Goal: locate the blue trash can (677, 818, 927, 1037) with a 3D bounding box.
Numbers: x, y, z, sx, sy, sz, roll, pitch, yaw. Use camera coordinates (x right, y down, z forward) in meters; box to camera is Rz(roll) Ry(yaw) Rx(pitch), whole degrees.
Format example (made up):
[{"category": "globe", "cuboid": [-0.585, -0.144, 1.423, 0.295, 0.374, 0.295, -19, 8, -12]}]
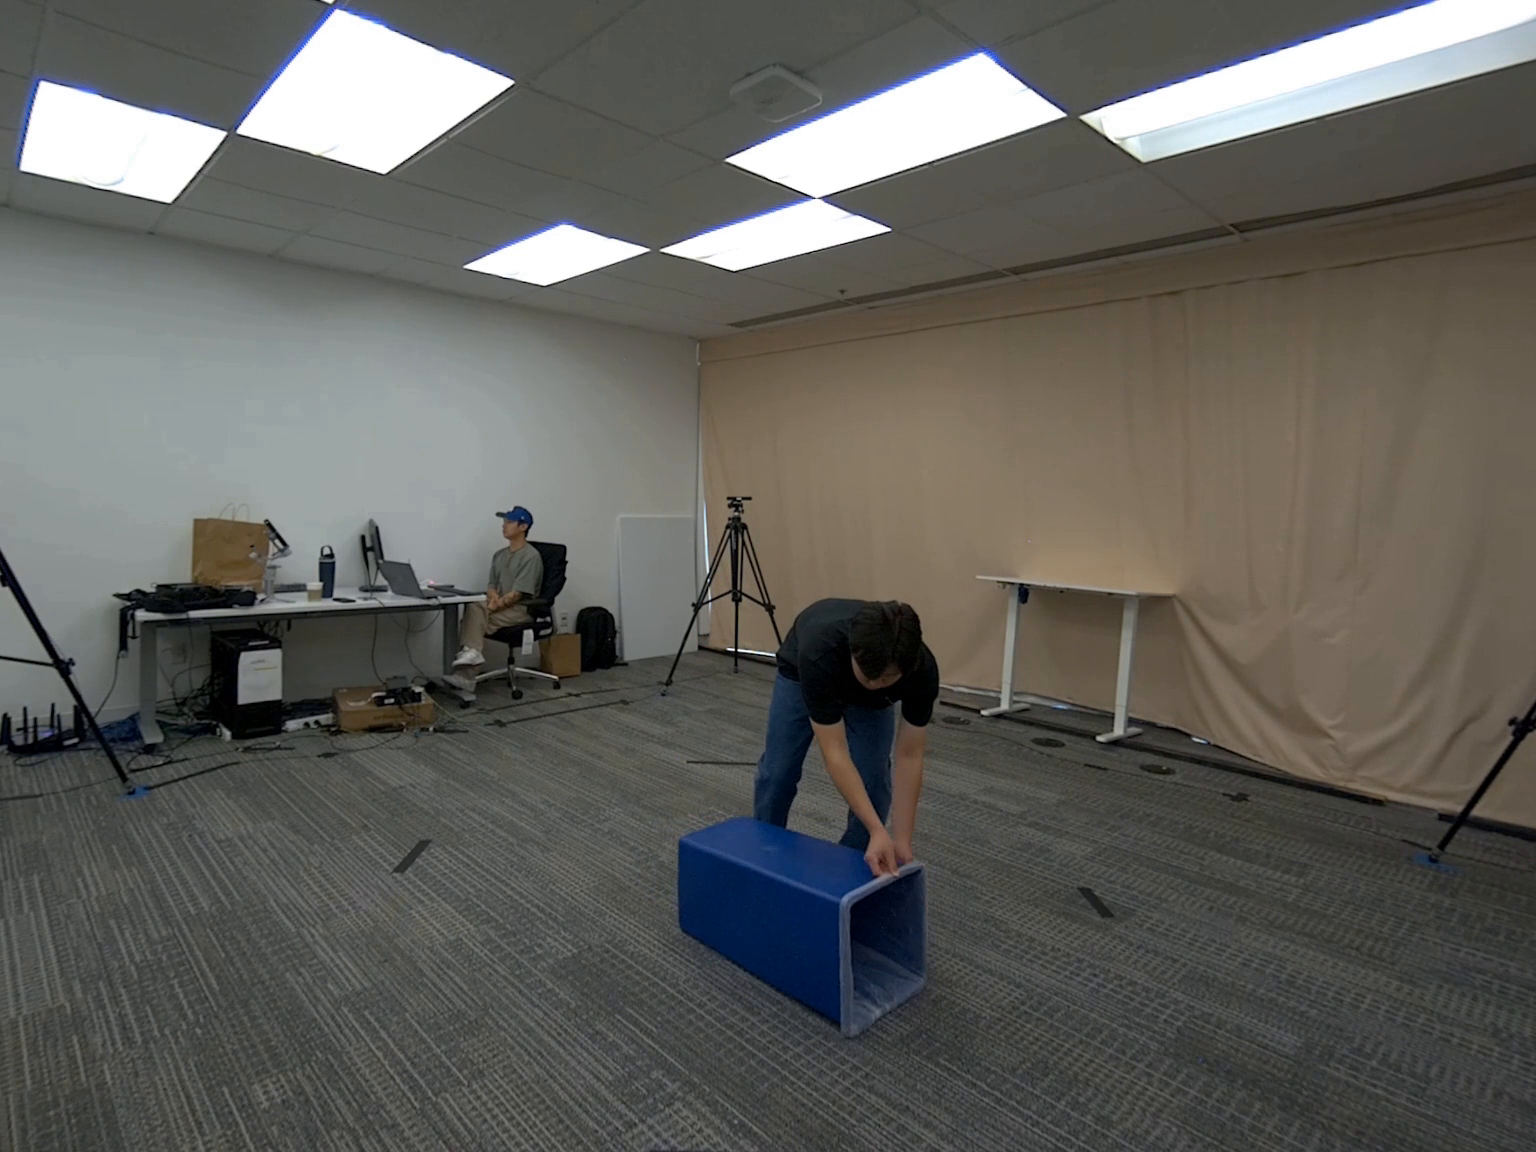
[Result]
[{"category": "blue trash can", "cuboid": [0.064, 0.987, 2.534, 0.731, 0.373, 0.370, 2, 5, 44]}]
